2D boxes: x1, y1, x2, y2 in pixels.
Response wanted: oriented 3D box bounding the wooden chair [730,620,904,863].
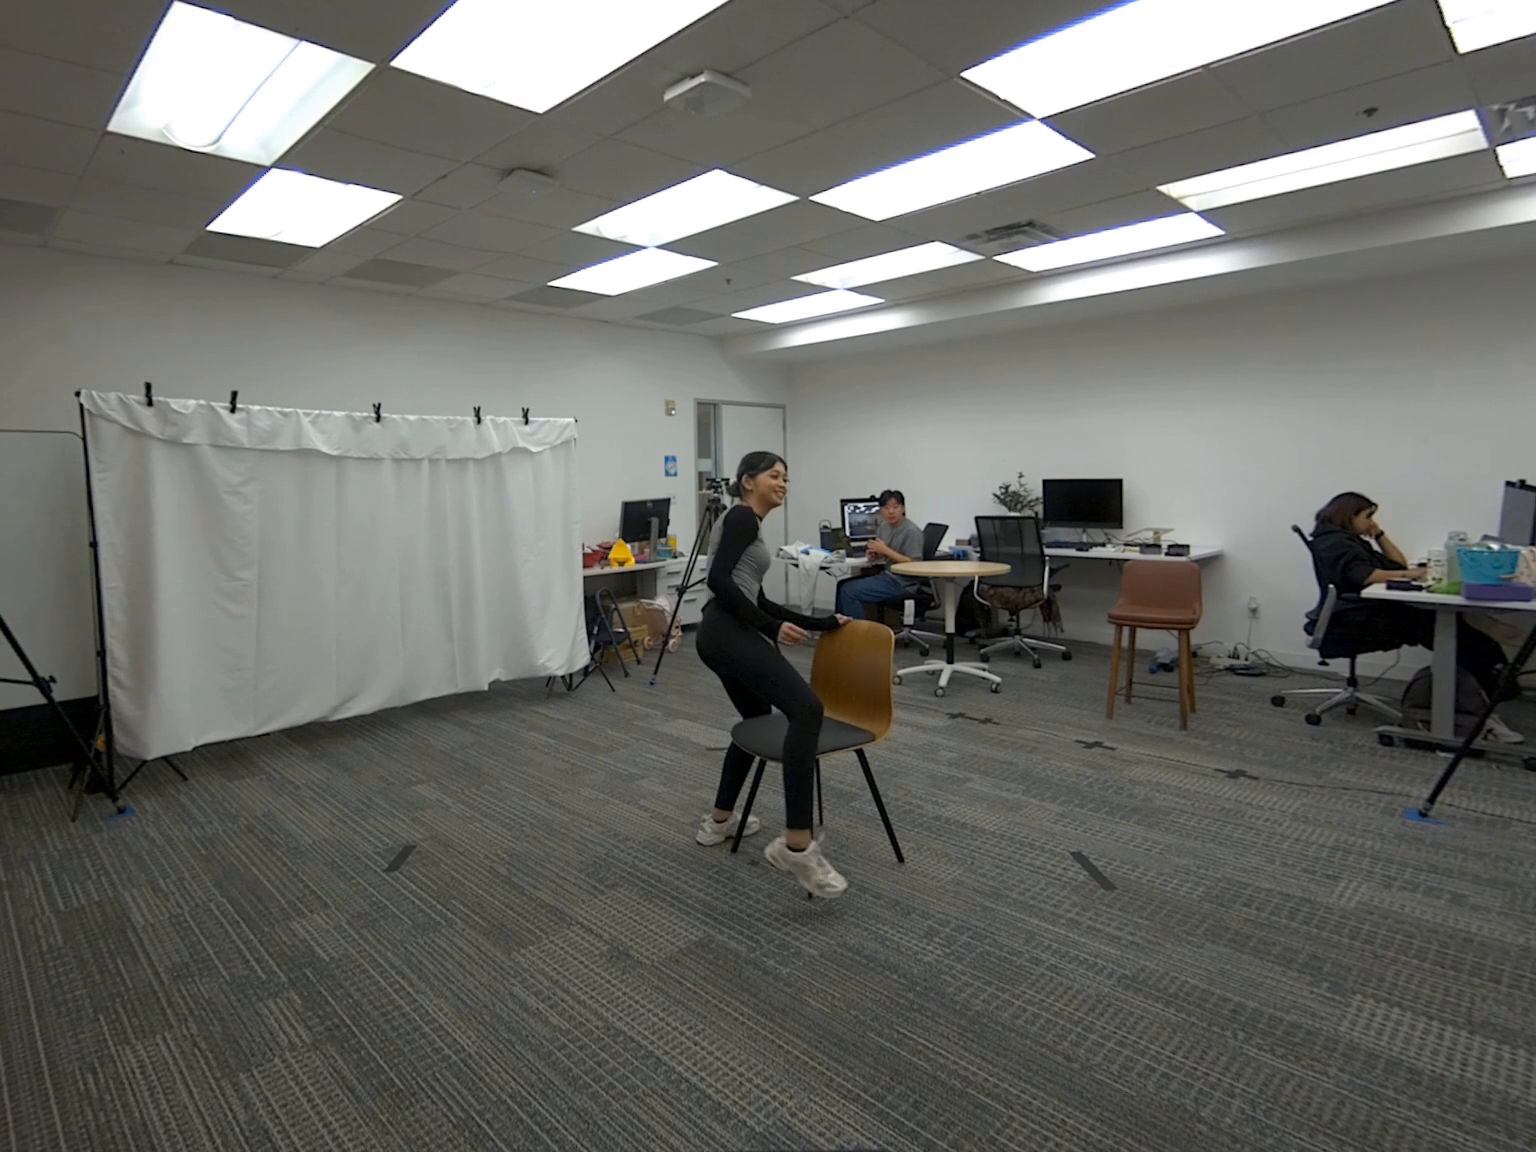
[{"bbox_3d":[0.168,0.612,3.102,0.508,0.876,0.492,1,2,-37],"label":"wooden chair"}]
